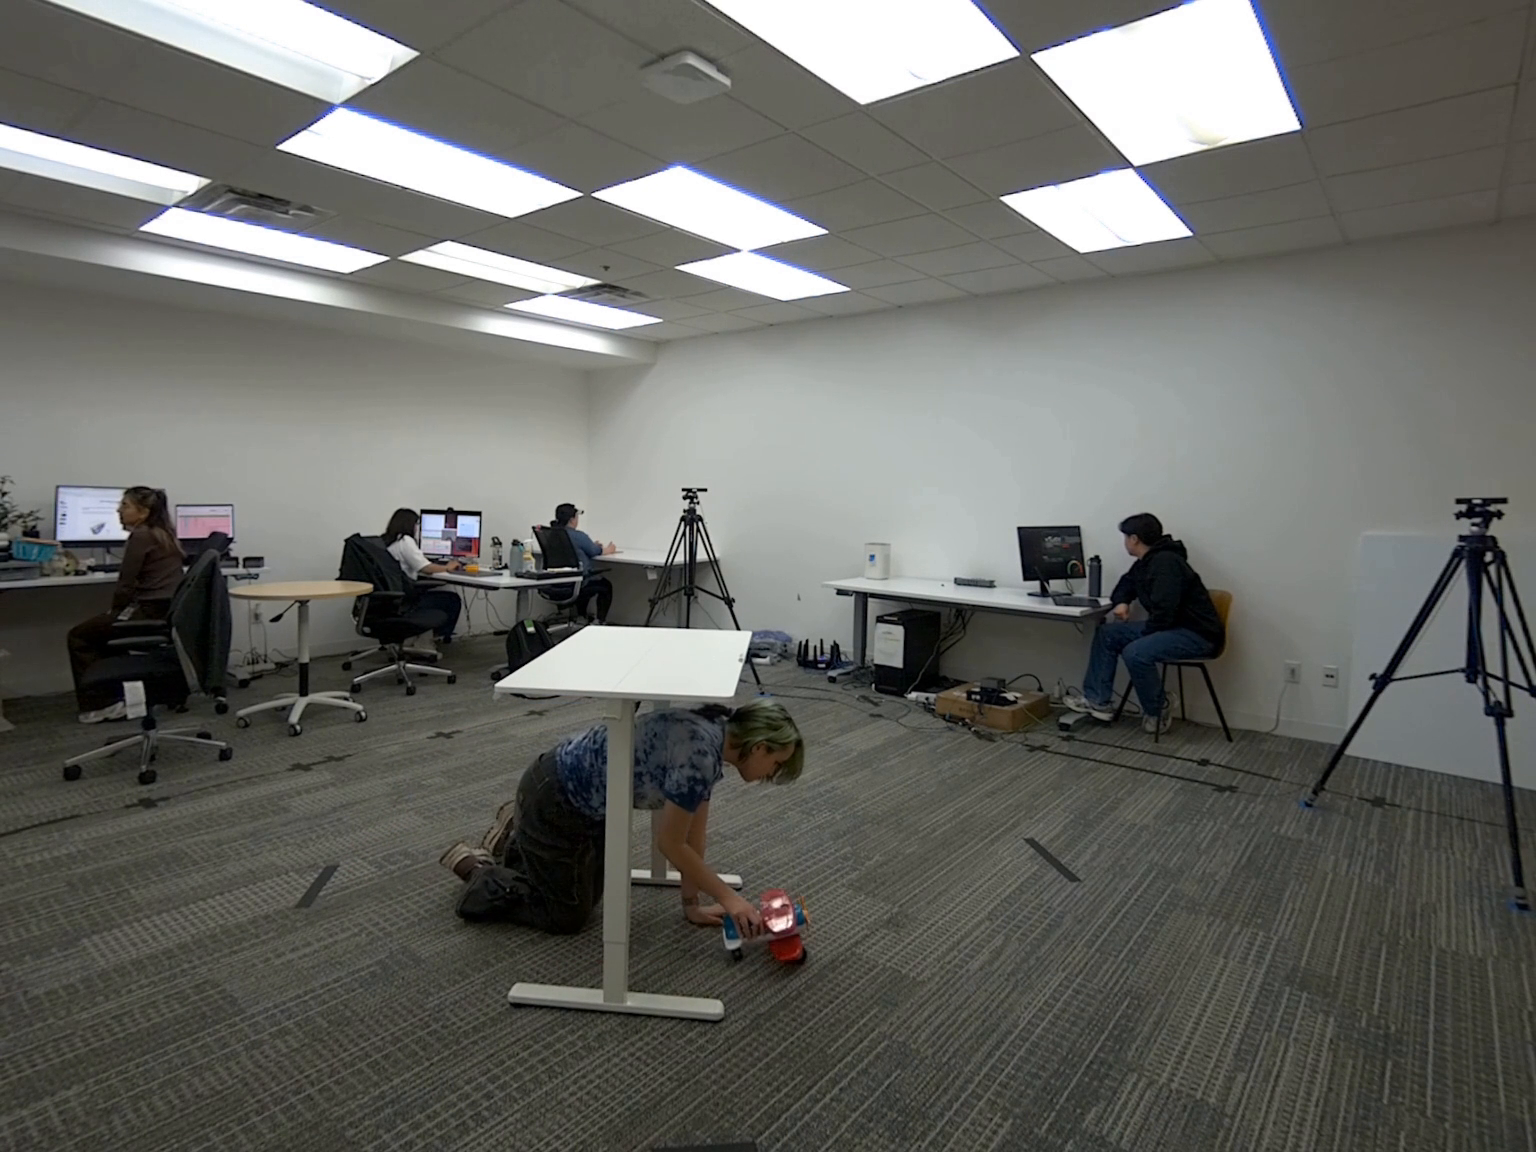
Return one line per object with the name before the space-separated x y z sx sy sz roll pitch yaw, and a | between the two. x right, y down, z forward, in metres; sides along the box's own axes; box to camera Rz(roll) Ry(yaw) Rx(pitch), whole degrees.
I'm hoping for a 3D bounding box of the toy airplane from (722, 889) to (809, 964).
toy airplane | -0.008 1.064 2.512 0.252 0.156 0.259 -1 6 -34
